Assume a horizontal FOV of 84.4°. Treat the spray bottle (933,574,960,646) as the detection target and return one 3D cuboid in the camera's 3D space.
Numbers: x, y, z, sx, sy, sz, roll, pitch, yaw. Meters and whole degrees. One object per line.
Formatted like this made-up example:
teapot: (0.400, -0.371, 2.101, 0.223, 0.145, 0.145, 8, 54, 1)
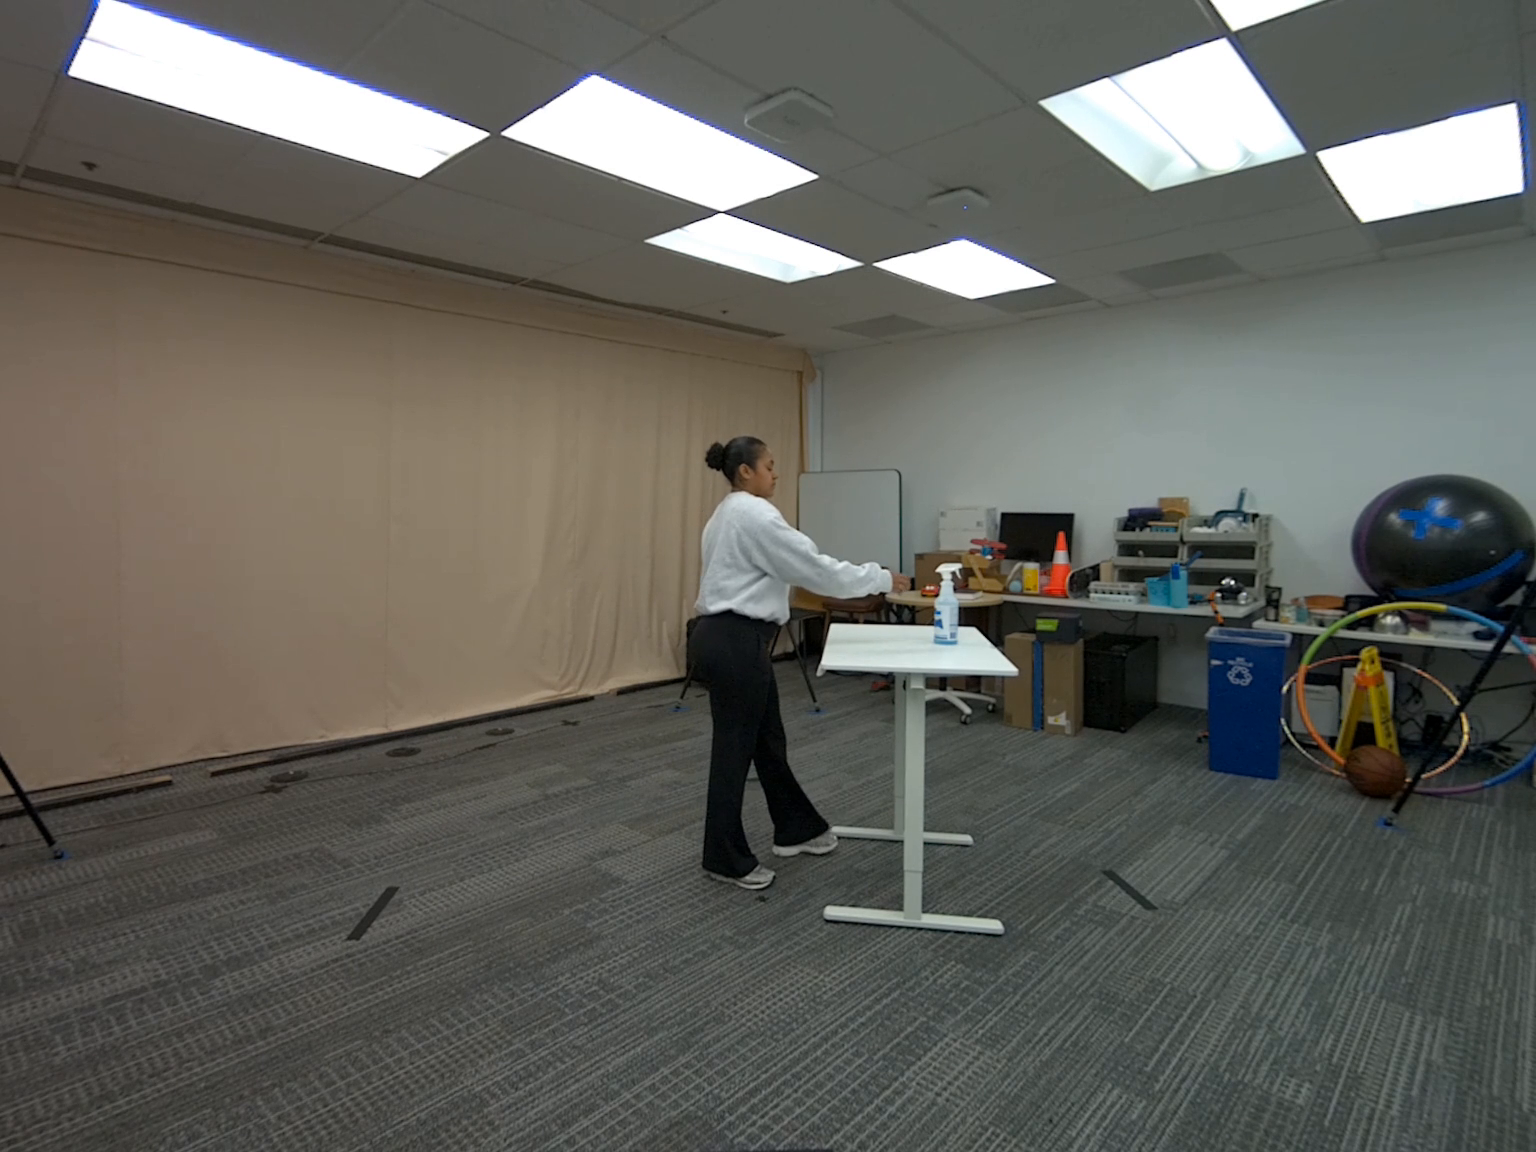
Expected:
spray bottle: (0.669, 0.106, 3.102, 0.093, 0.296, 0.084, 6, 5, 37)
